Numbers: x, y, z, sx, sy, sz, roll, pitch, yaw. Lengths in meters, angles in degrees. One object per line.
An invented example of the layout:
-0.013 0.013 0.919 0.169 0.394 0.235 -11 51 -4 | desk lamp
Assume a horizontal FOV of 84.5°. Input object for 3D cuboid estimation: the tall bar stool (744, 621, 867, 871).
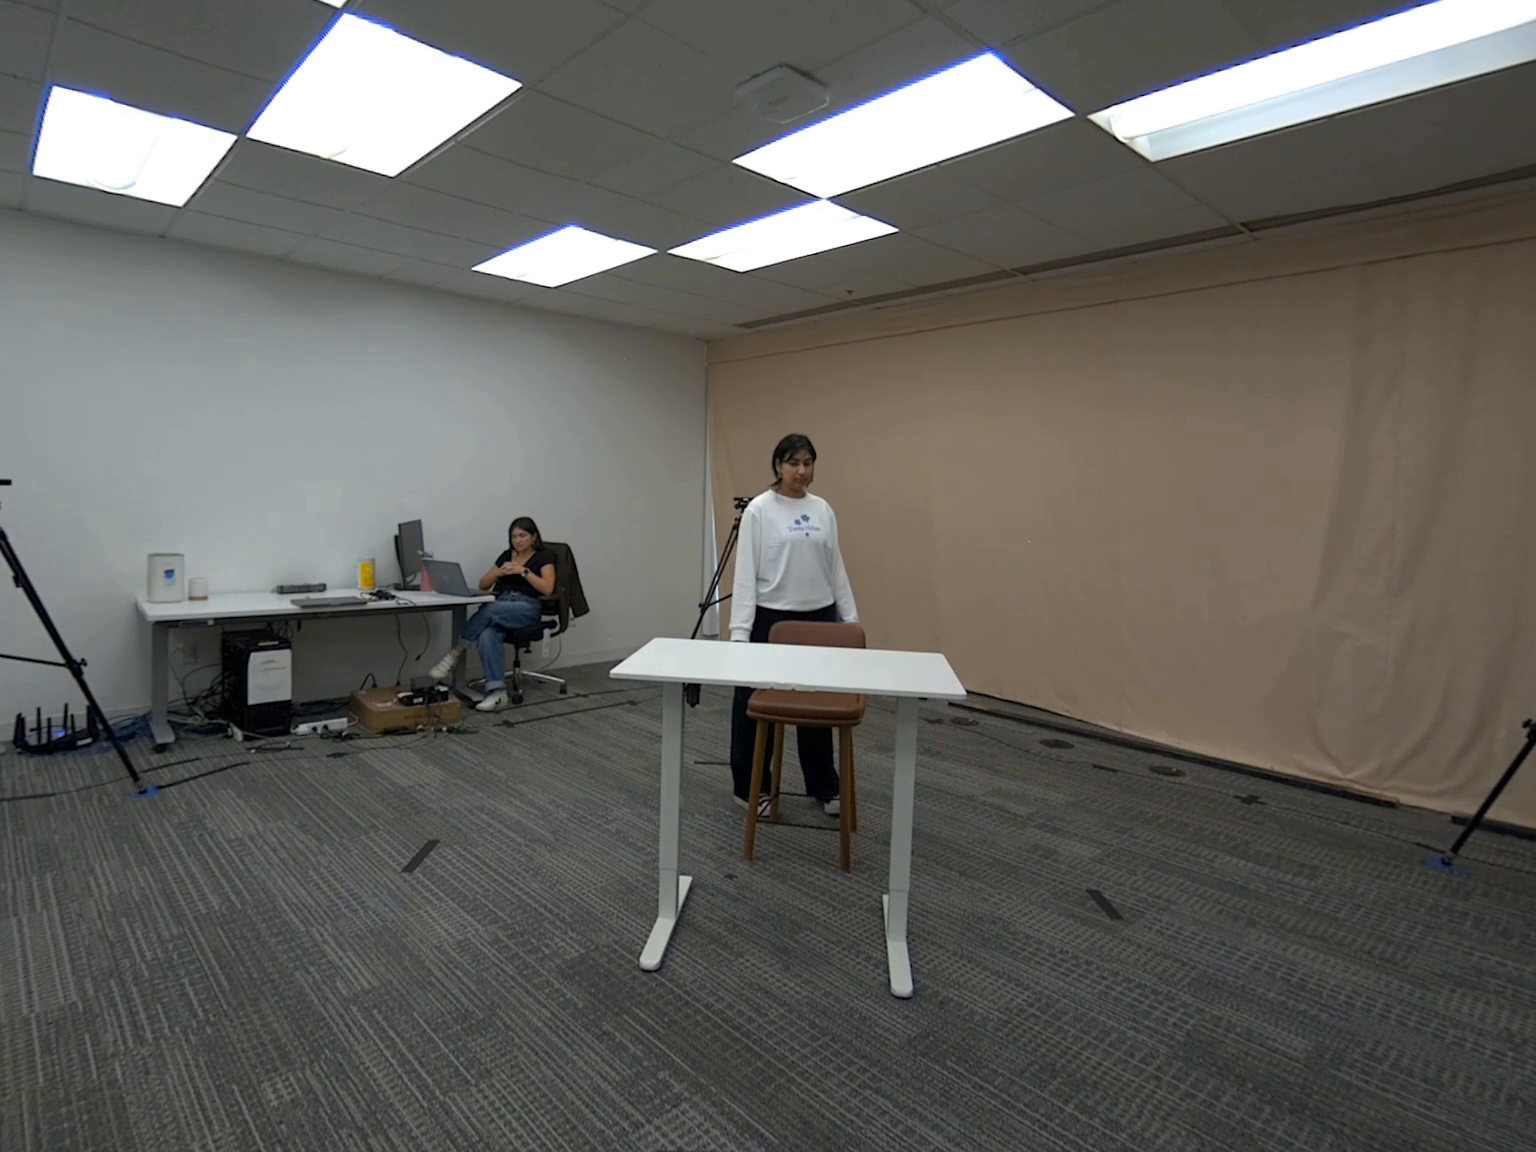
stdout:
0.152 0.652 3.406 0.462 0.889 0.462 2 0 14 | tall bar stool
